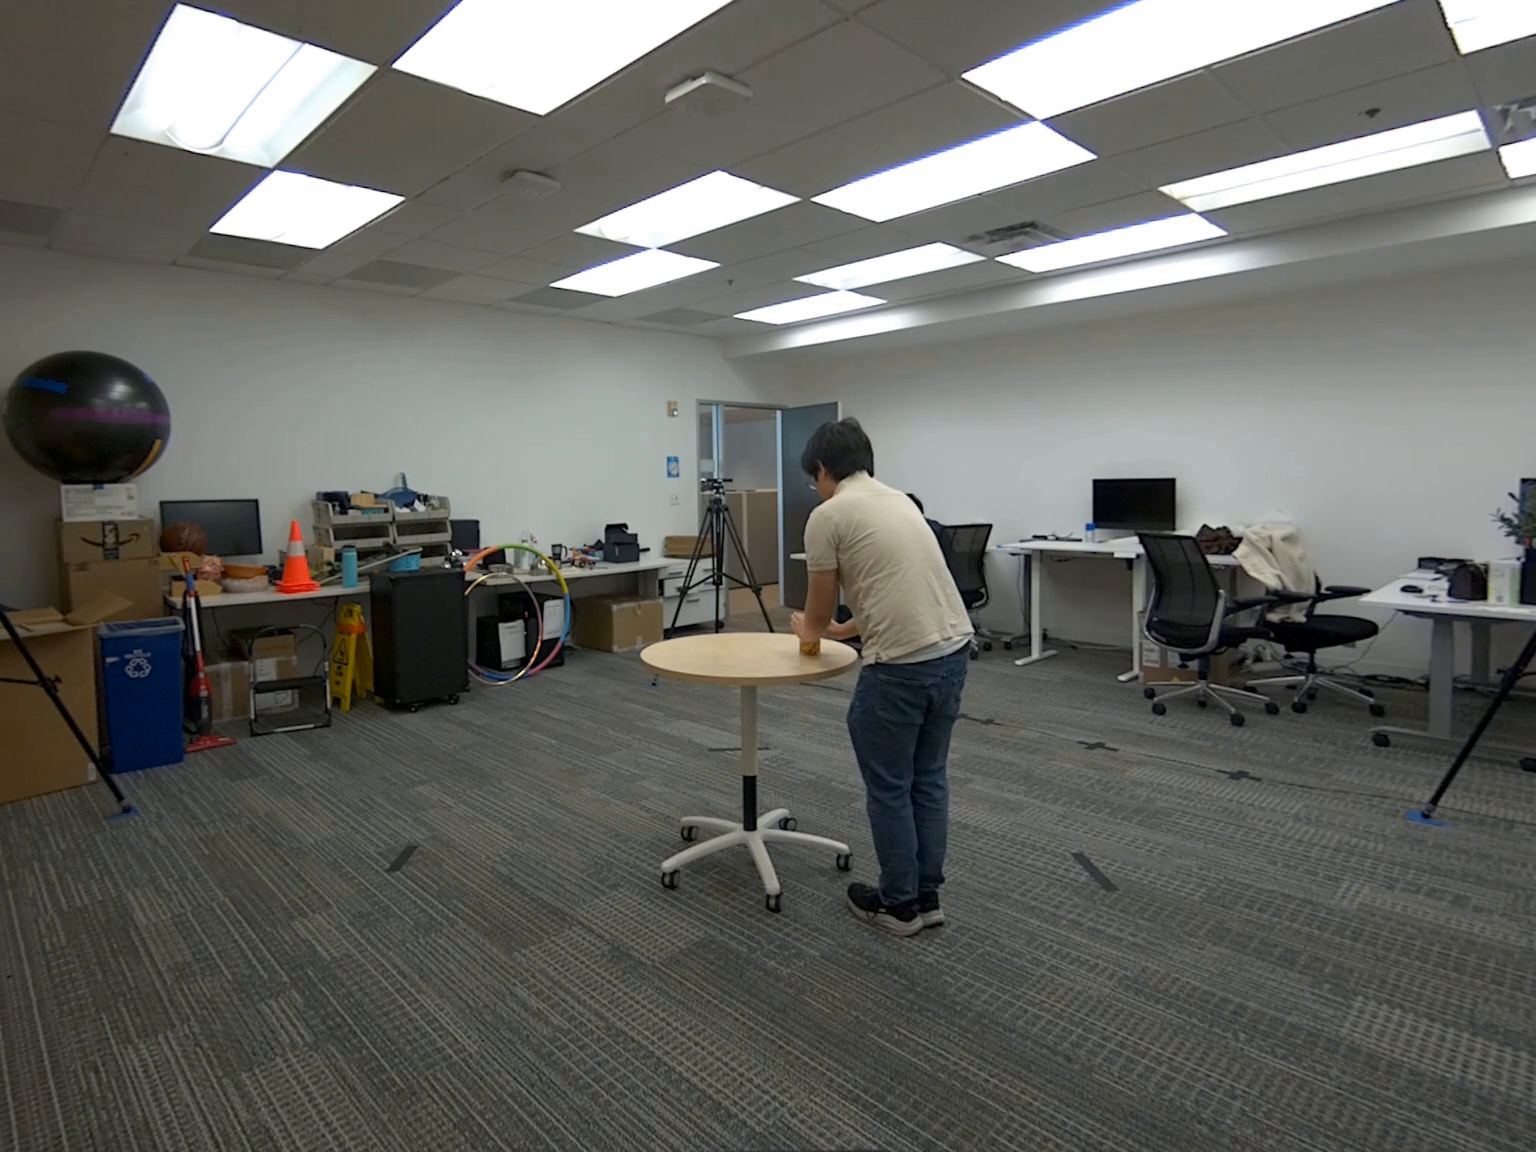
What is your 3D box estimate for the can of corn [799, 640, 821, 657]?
[{"bbox_3d":[0.162,0.217,3.009,0.074,0.110,0.074,1,5,-2],"label":"can of corn"}]
